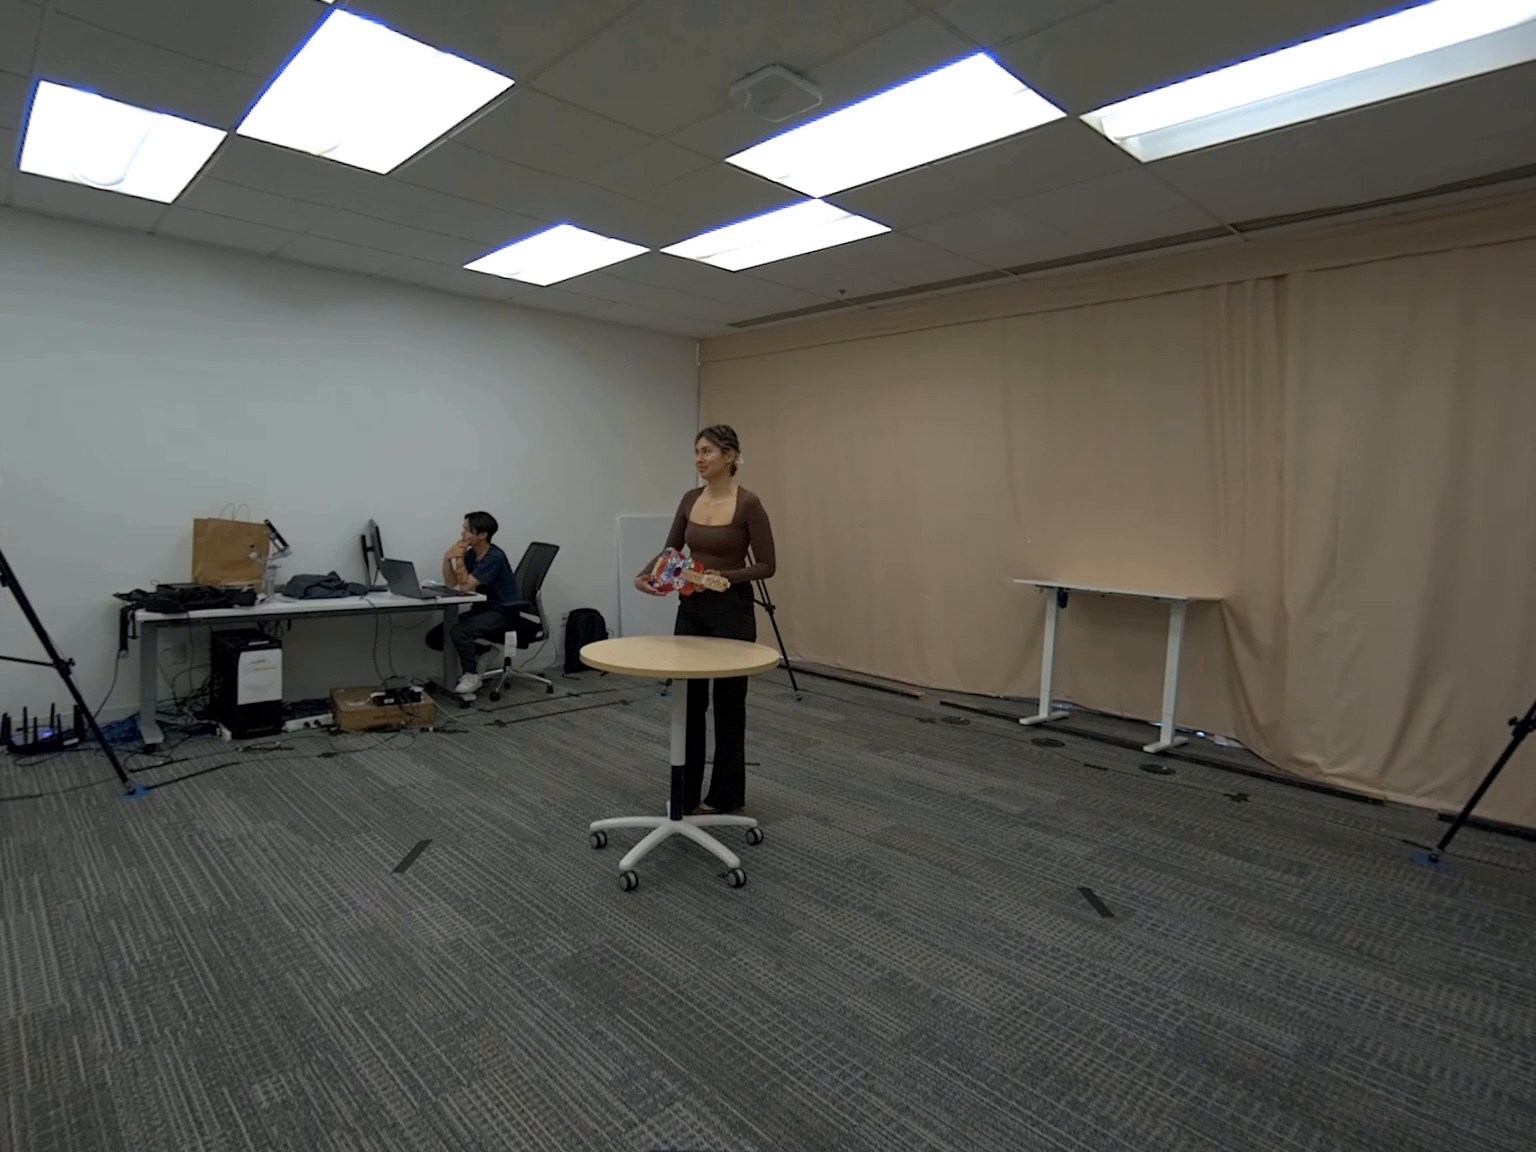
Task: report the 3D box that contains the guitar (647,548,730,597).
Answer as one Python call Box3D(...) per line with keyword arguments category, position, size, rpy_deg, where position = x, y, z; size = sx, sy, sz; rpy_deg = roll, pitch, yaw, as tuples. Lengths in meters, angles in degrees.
Box3D(category="guitar", position=(-0.345, 0.033, 3.487), size=(0.068, 0.193, 0.513), rpy_deg=(37, -5, -39))
